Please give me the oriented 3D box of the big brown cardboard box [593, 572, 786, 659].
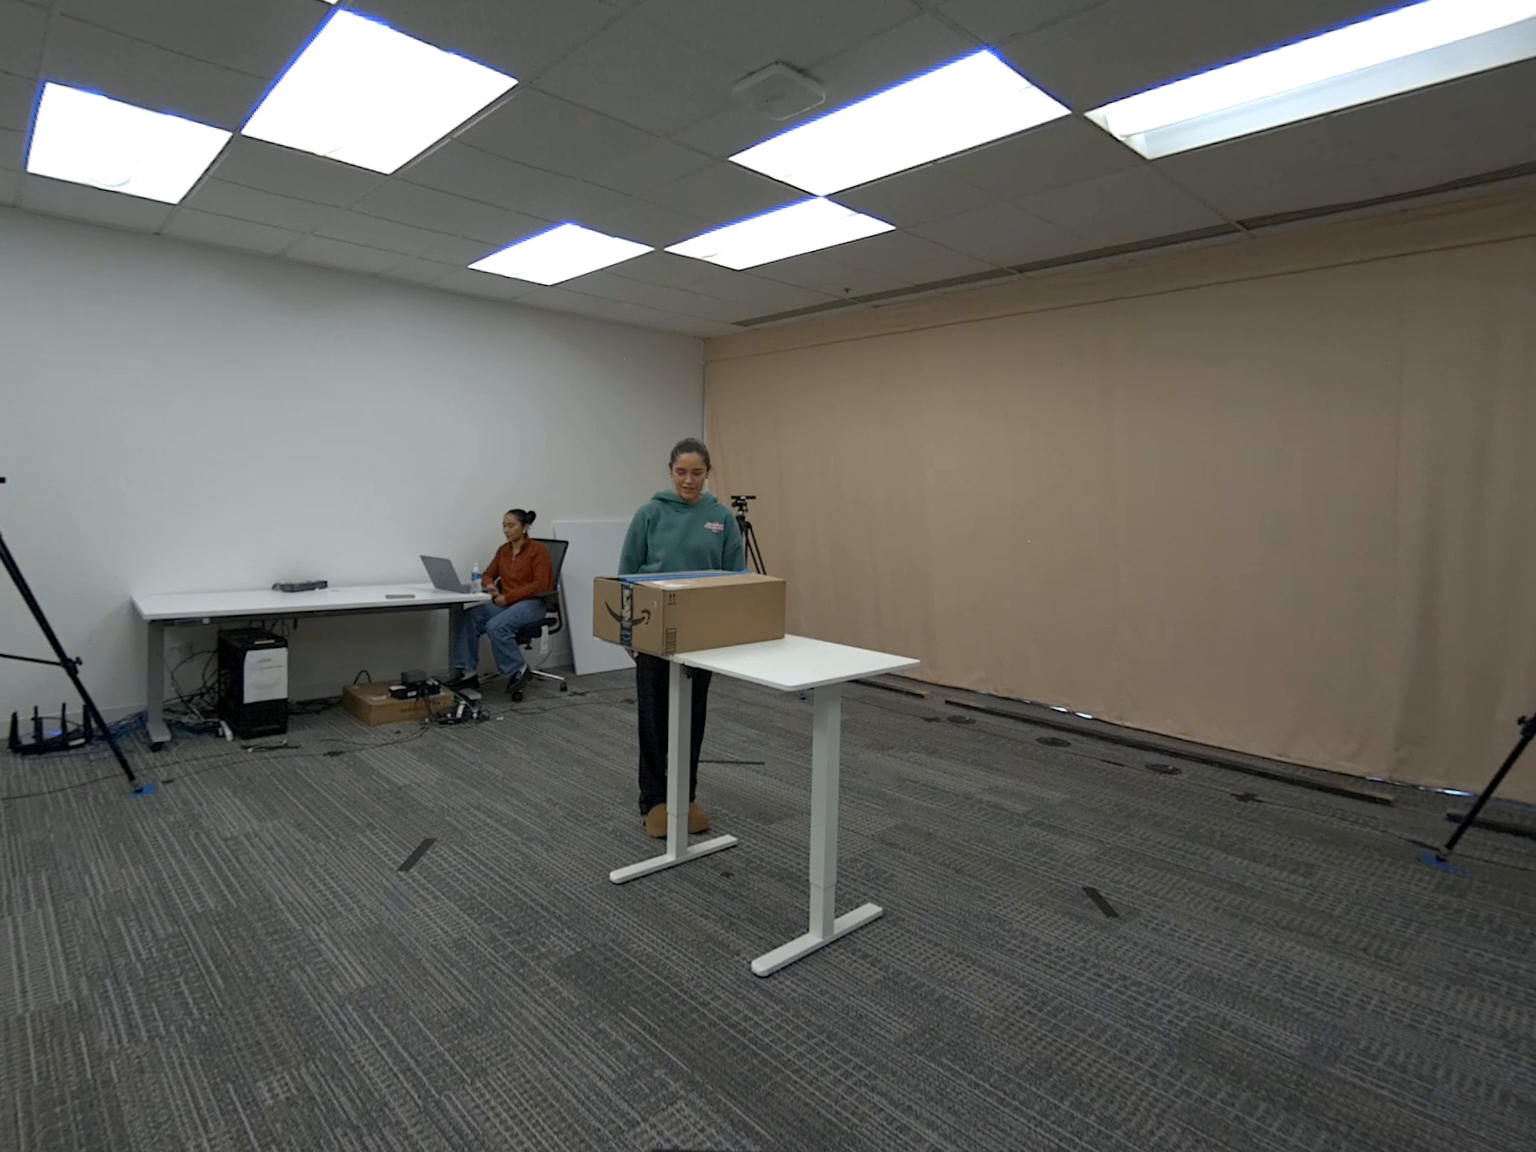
[{"bbox_3d":[-0.288,0.117,3.018,0.575,0.232,0.428,-3,7,-43],"label":"big brown cardboard box"}]
